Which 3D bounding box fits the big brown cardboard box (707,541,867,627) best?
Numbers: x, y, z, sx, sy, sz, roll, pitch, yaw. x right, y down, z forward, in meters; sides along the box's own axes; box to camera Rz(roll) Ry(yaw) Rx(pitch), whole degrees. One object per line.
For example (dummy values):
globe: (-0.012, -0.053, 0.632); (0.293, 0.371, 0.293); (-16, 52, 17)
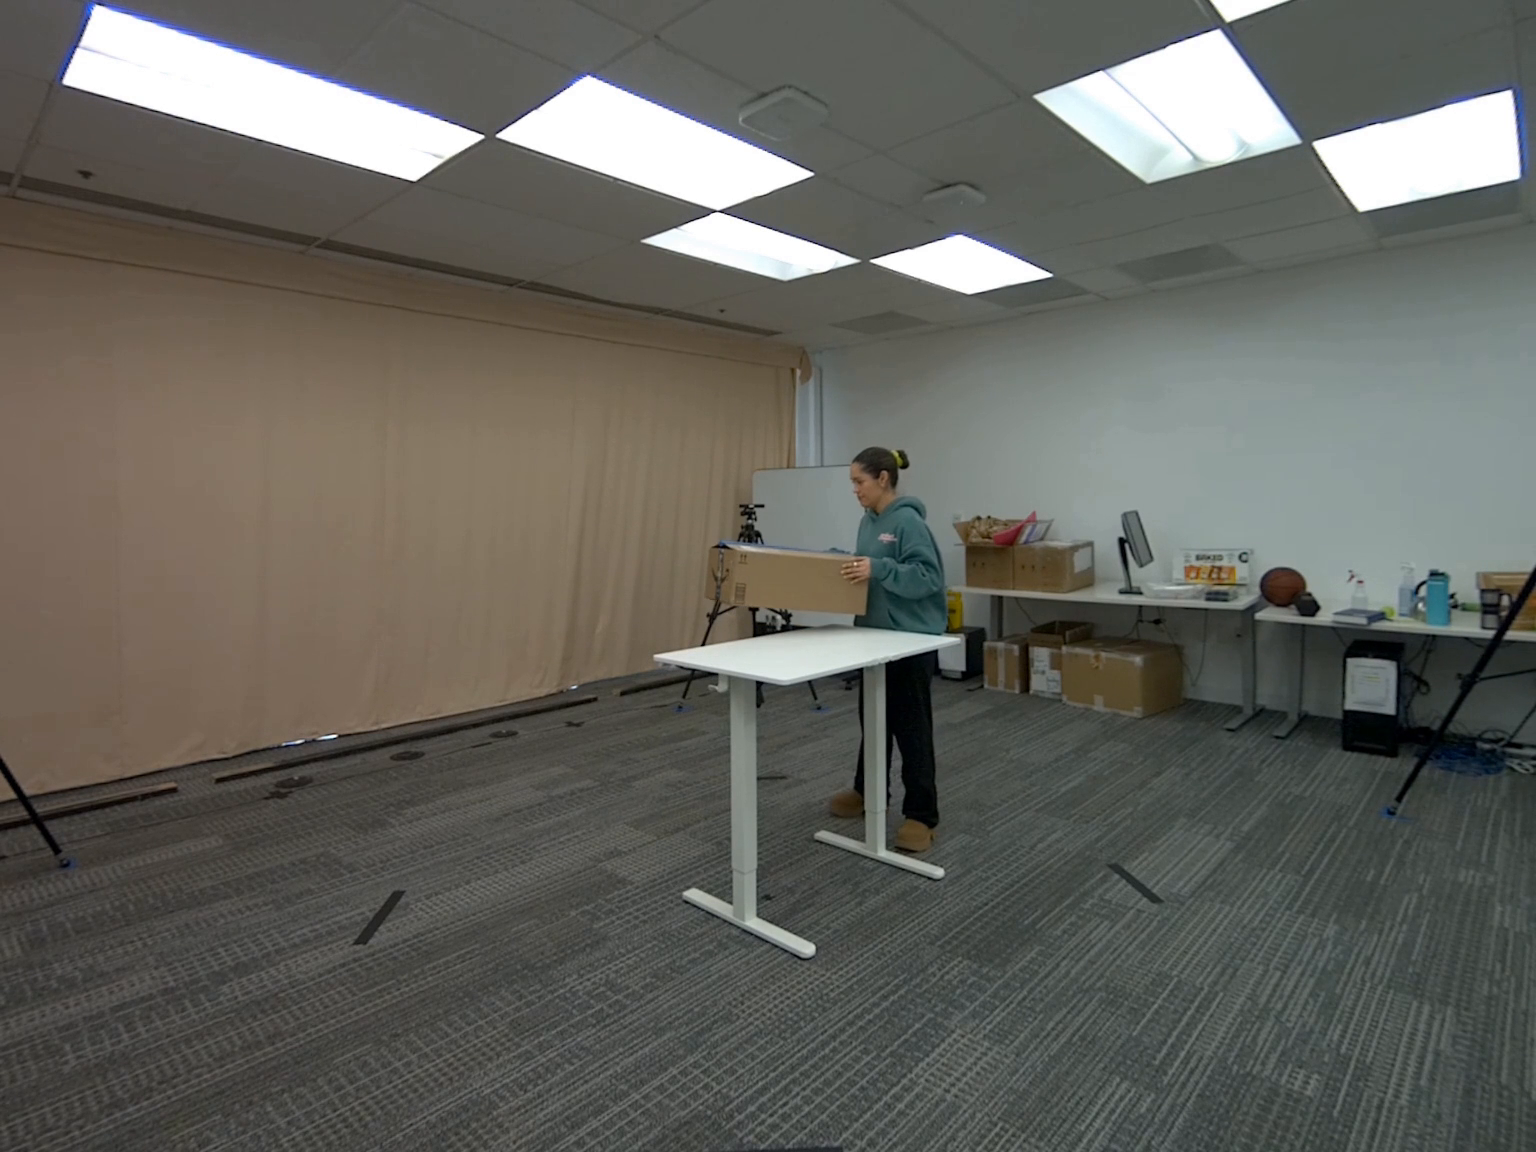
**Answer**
big brown cardboard box: (0.071, 0.012, 3.466); (0.580, 0.233, 0.424); (5, 2, -14)
